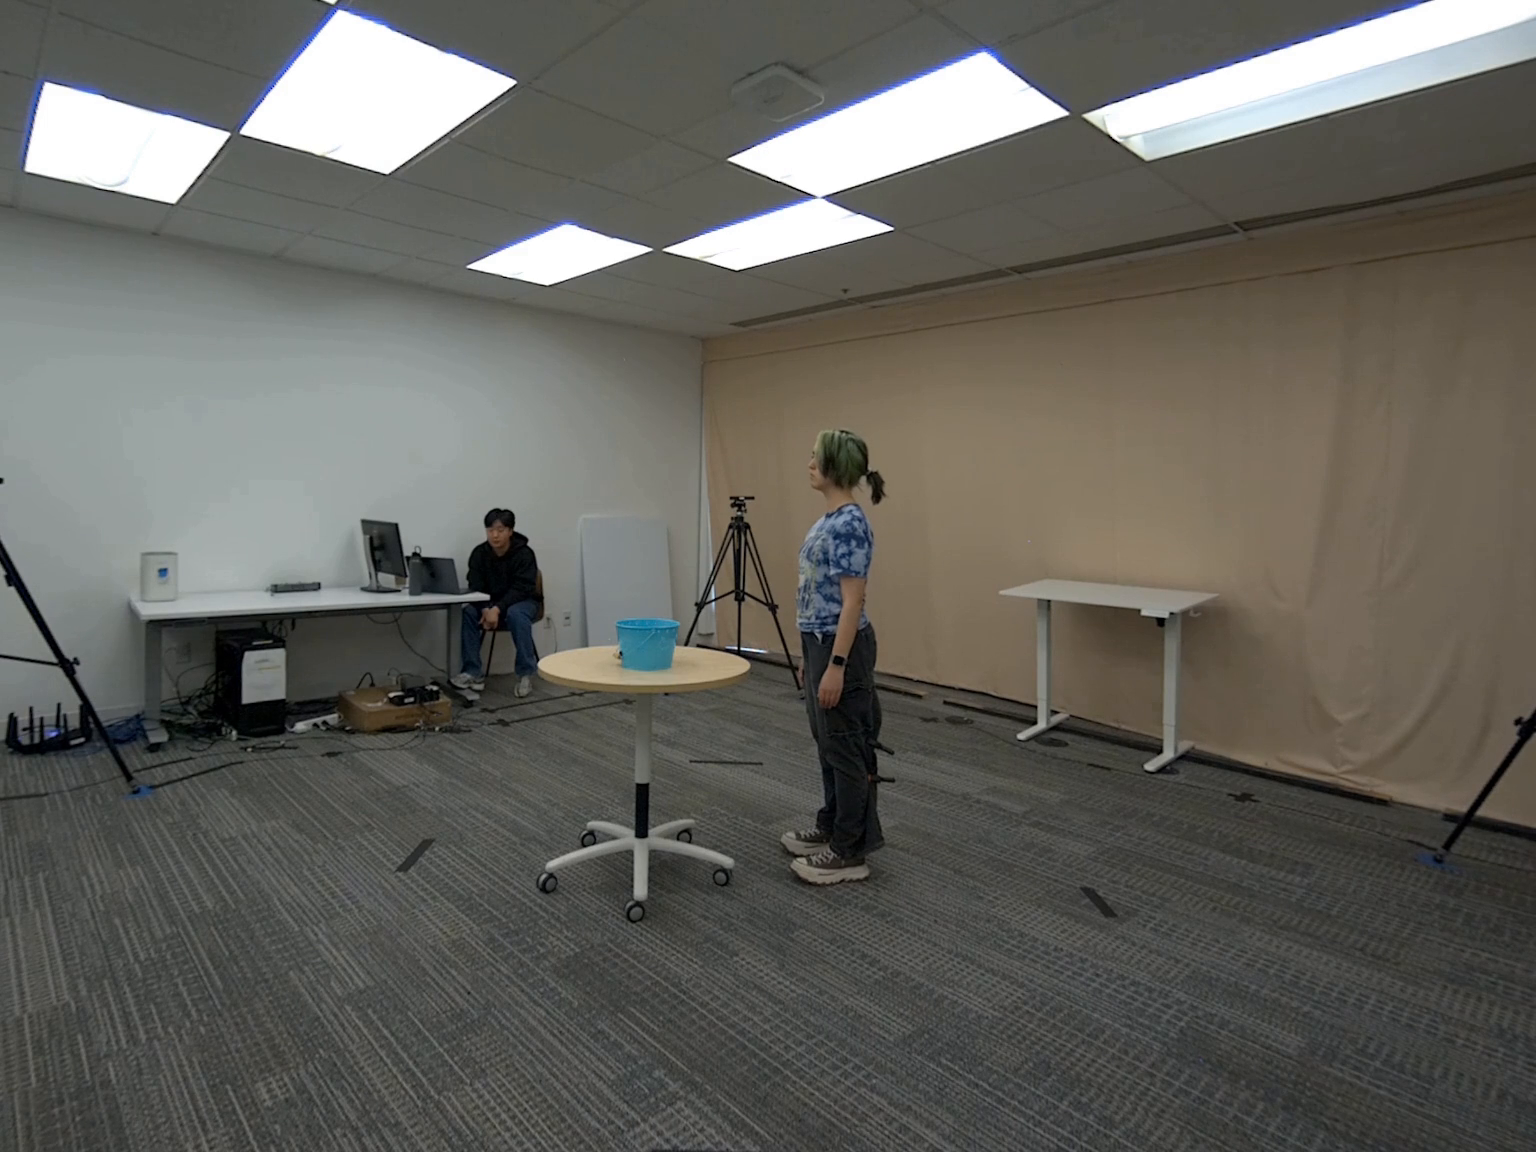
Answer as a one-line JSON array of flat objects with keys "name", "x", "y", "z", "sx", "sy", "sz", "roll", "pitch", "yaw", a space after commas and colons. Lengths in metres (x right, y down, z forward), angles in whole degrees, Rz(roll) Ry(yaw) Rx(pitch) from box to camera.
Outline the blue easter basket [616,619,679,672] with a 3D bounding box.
[{"name": "blue easter basket", "x": -0.446, "y": 0.249, "z": 3.005, "sx": 0.243, "sy": 0.155, "sz": 0.244, "roll": 1, "pitch": 4, "yaw": -1}]
